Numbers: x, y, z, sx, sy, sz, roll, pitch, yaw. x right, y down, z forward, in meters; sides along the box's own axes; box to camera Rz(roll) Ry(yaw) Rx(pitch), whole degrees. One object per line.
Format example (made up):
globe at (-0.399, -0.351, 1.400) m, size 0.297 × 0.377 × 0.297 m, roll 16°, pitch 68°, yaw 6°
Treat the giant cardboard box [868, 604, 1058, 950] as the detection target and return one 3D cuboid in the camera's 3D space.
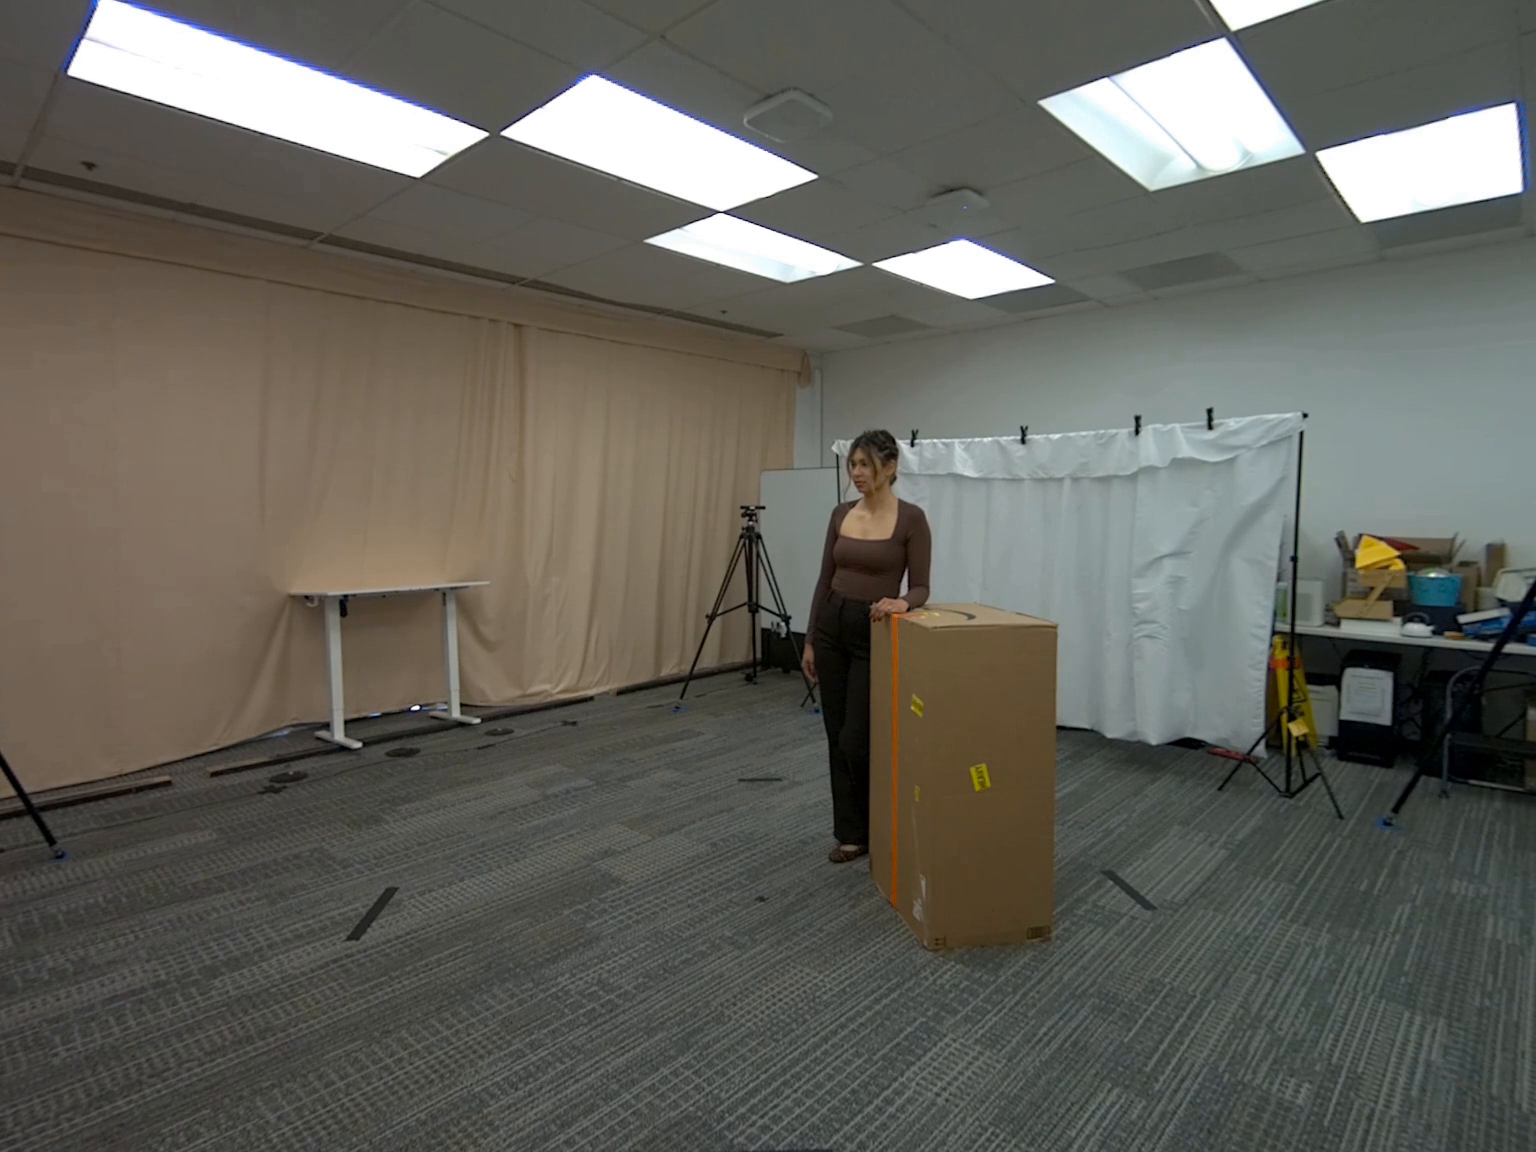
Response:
giant cardboard box at (0.652, 0.641, 2.911) m, size 0.442 × 1.025 × 0.591 m, roll 0°, pitch 3°, yaw -11°
